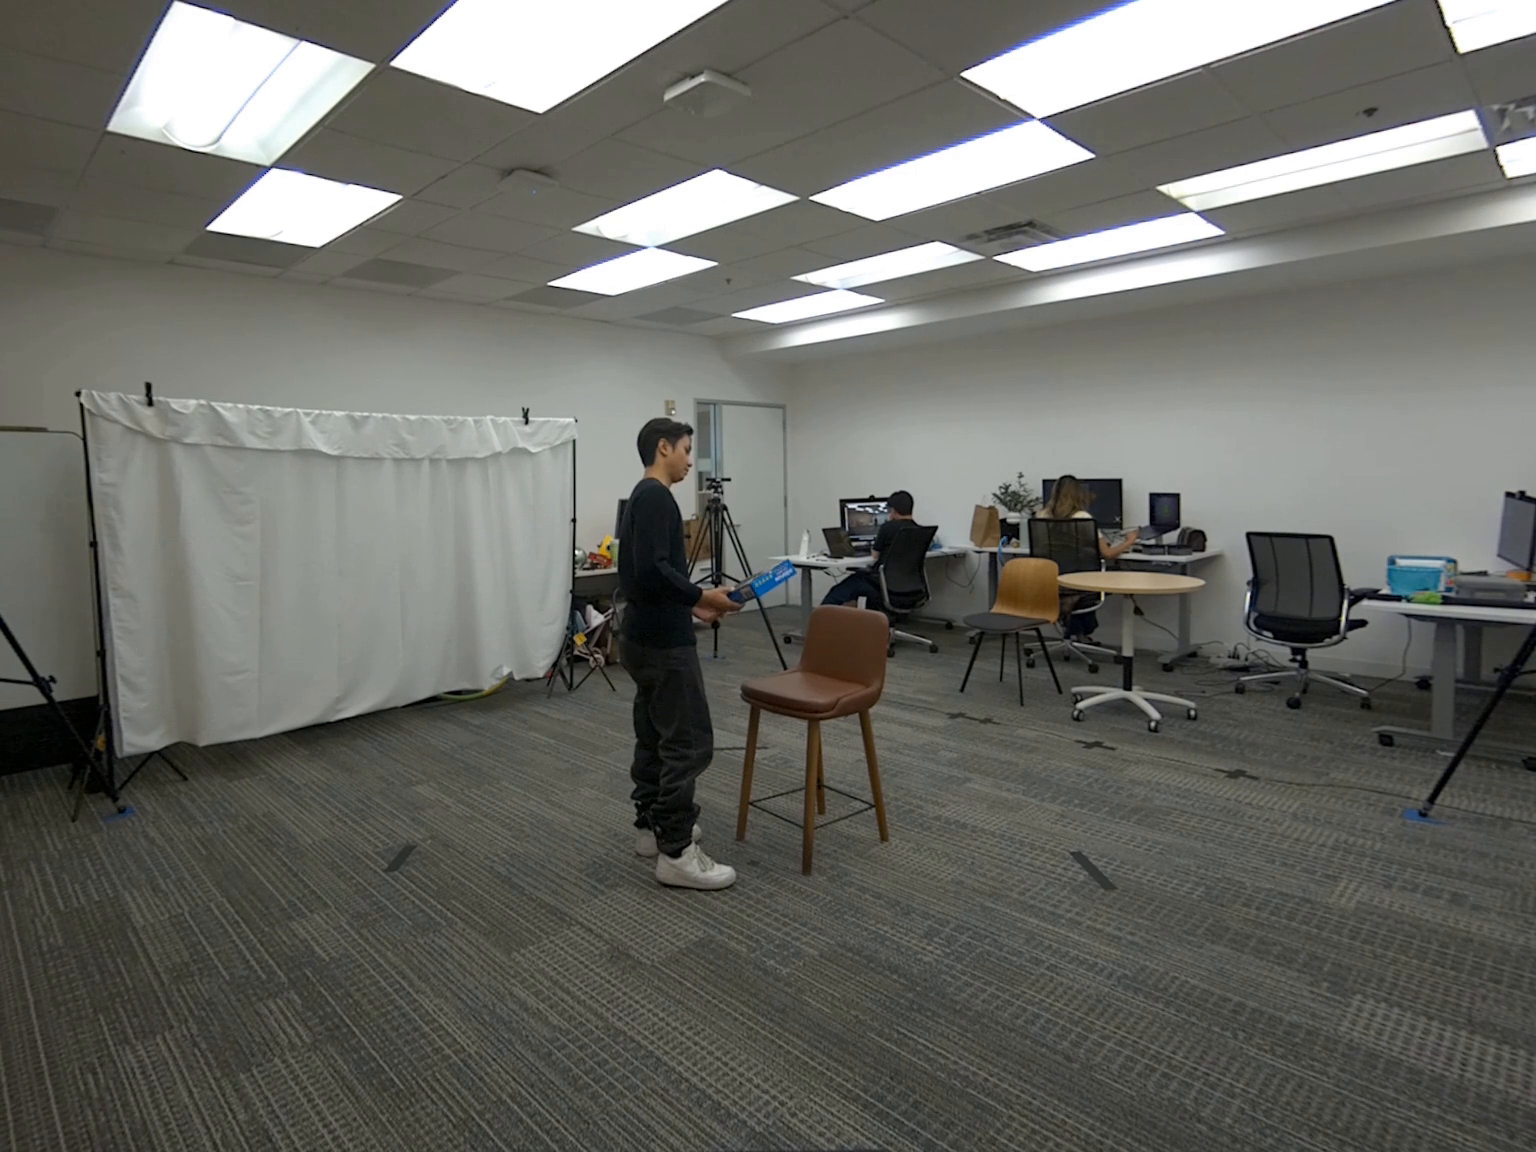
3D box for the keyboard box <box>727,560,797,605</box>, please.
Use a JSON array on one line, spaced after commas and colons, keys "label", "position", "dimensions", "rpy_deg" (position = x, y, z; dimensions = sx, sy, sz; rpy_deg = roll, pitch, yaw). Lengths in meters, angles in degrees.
[{"label": "keyboard box", "position": [-0.047, 0.035, 3.089], "dimensions": [0.175, 0.059, 0.440], "rpy_deg": [-33, 4, -20]}]
